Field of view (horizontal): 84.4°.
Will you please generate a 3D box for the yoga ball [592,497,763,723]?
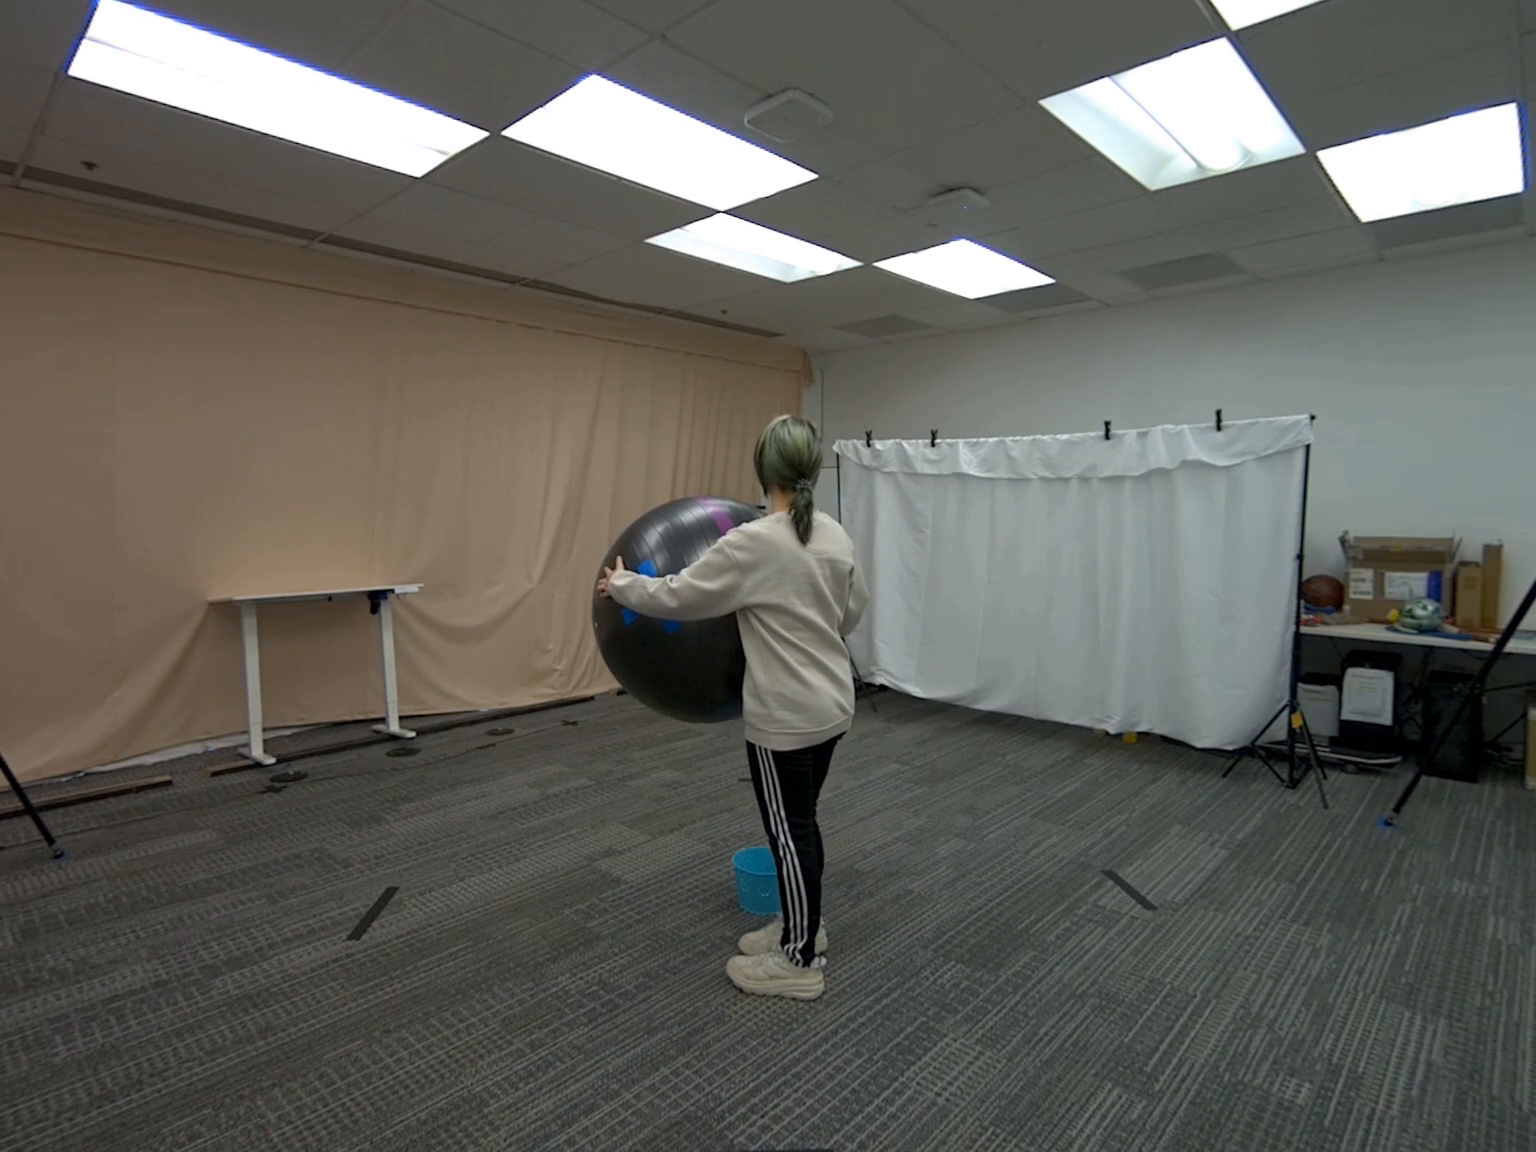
[{"bbox_3d":[-0.210,0.115,2.834,0.757,0.756,0.760,0,4,-2],"label":"yoga ball"}]
